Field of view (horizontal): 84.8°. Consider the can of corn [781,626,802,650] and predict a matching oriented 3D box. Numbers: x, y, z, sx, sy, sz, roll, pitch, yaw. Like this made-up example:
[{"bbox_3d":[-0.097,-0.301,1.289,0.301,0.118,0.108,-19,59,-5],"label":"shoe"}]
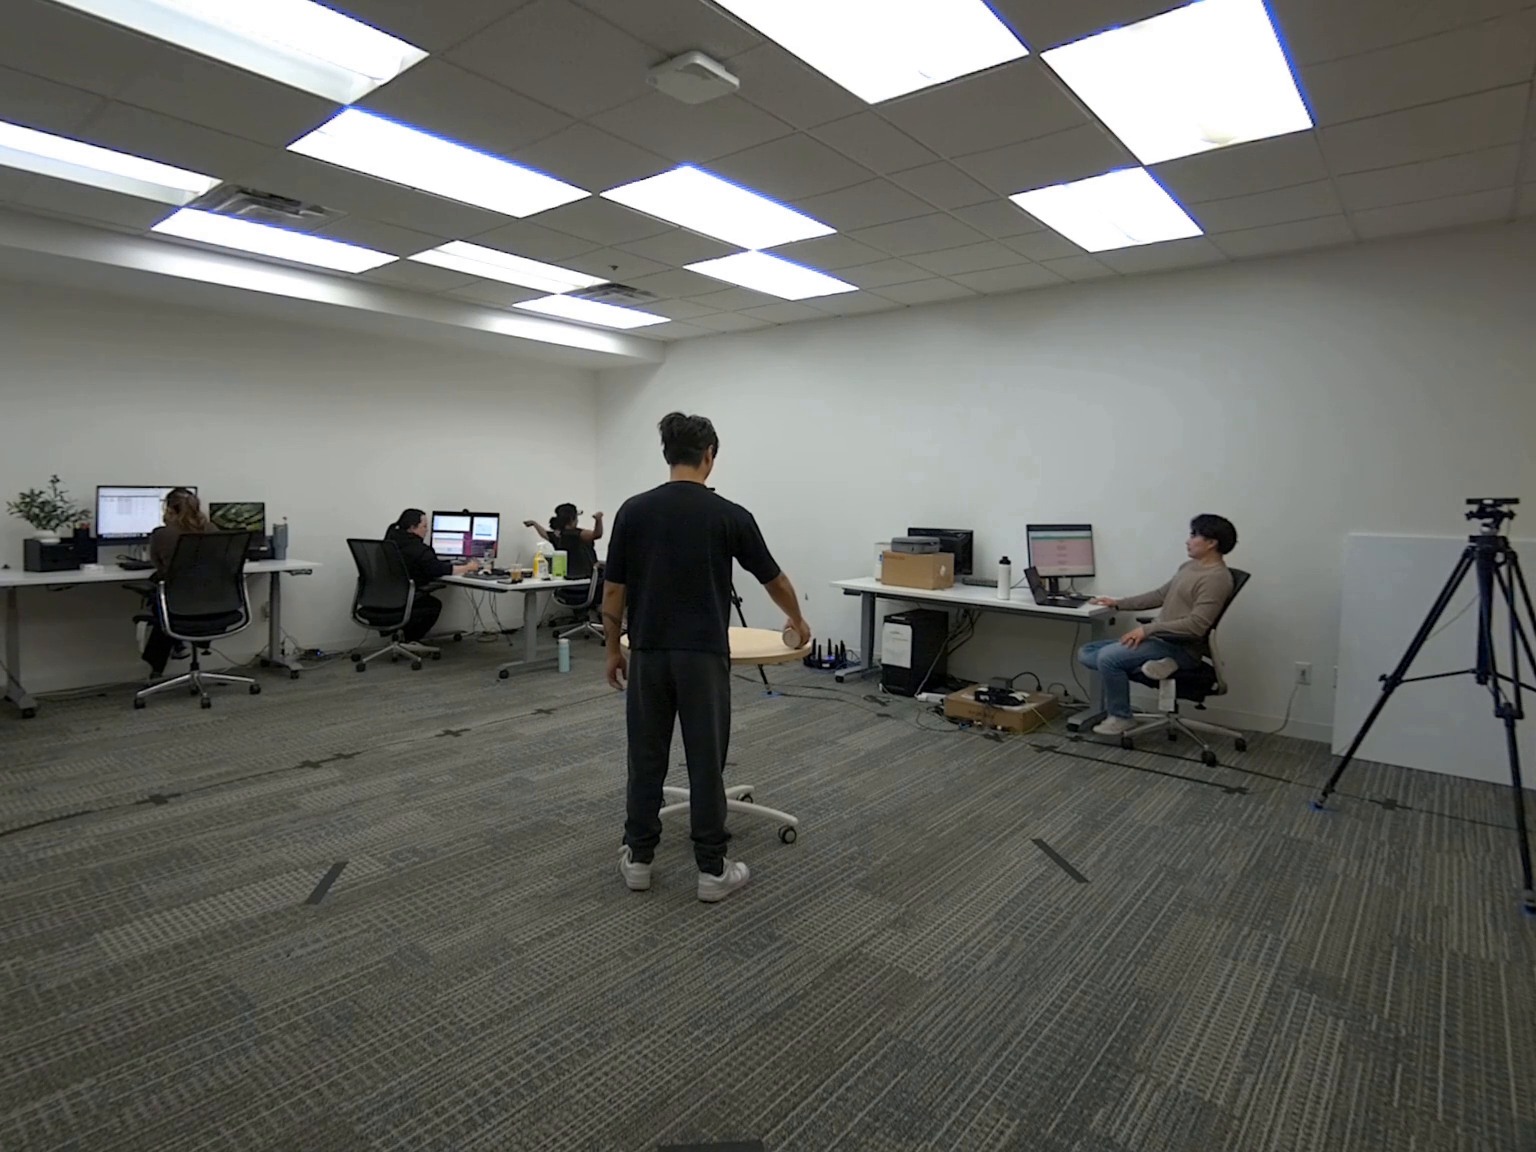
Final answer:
[{"bbox_3d":[0.097,0.228,3.282,0.075,0.074,0.109,2,7,17],"label":"can of corn"}]
